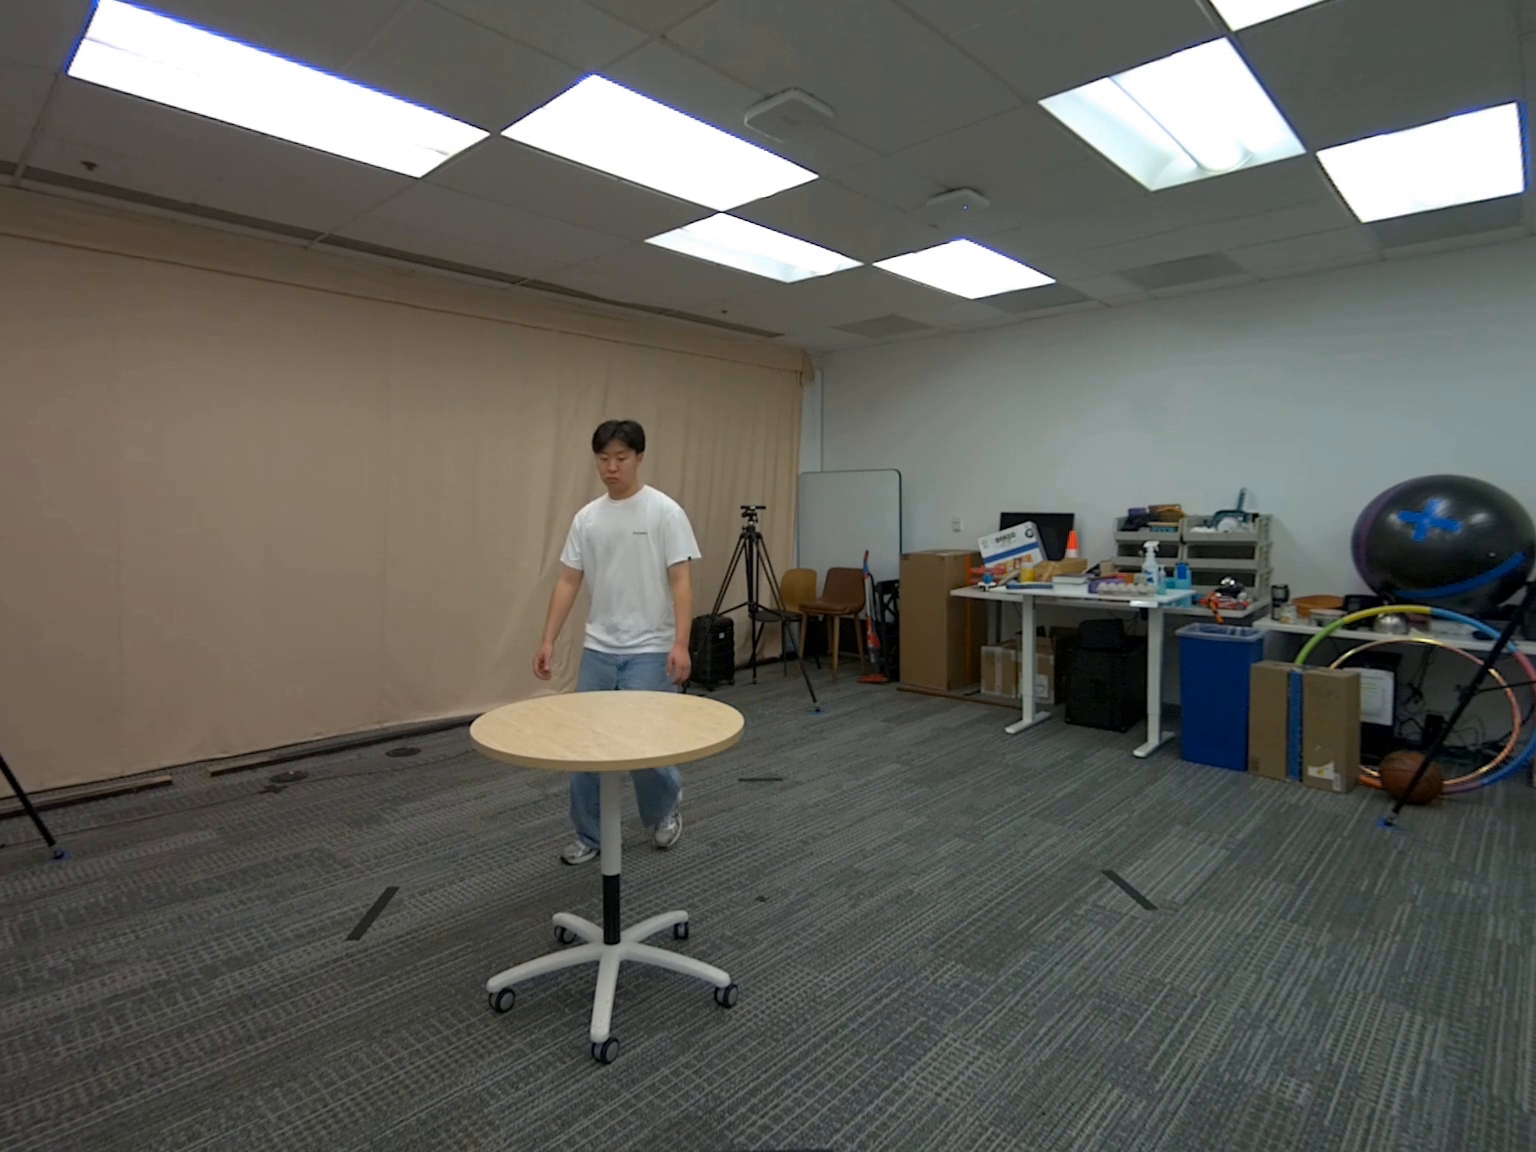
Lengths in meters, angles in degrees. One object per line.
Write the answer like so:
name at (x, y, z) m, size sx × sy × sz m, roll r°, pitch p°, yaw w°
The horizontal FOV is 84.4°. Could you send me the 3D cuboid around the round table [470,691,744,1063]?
round table at (-0.437, 0.805, 2.413) m, size 0.763 × 0.792 × 0.766 m, roll 0°, pitch 4°, yaw -2°
